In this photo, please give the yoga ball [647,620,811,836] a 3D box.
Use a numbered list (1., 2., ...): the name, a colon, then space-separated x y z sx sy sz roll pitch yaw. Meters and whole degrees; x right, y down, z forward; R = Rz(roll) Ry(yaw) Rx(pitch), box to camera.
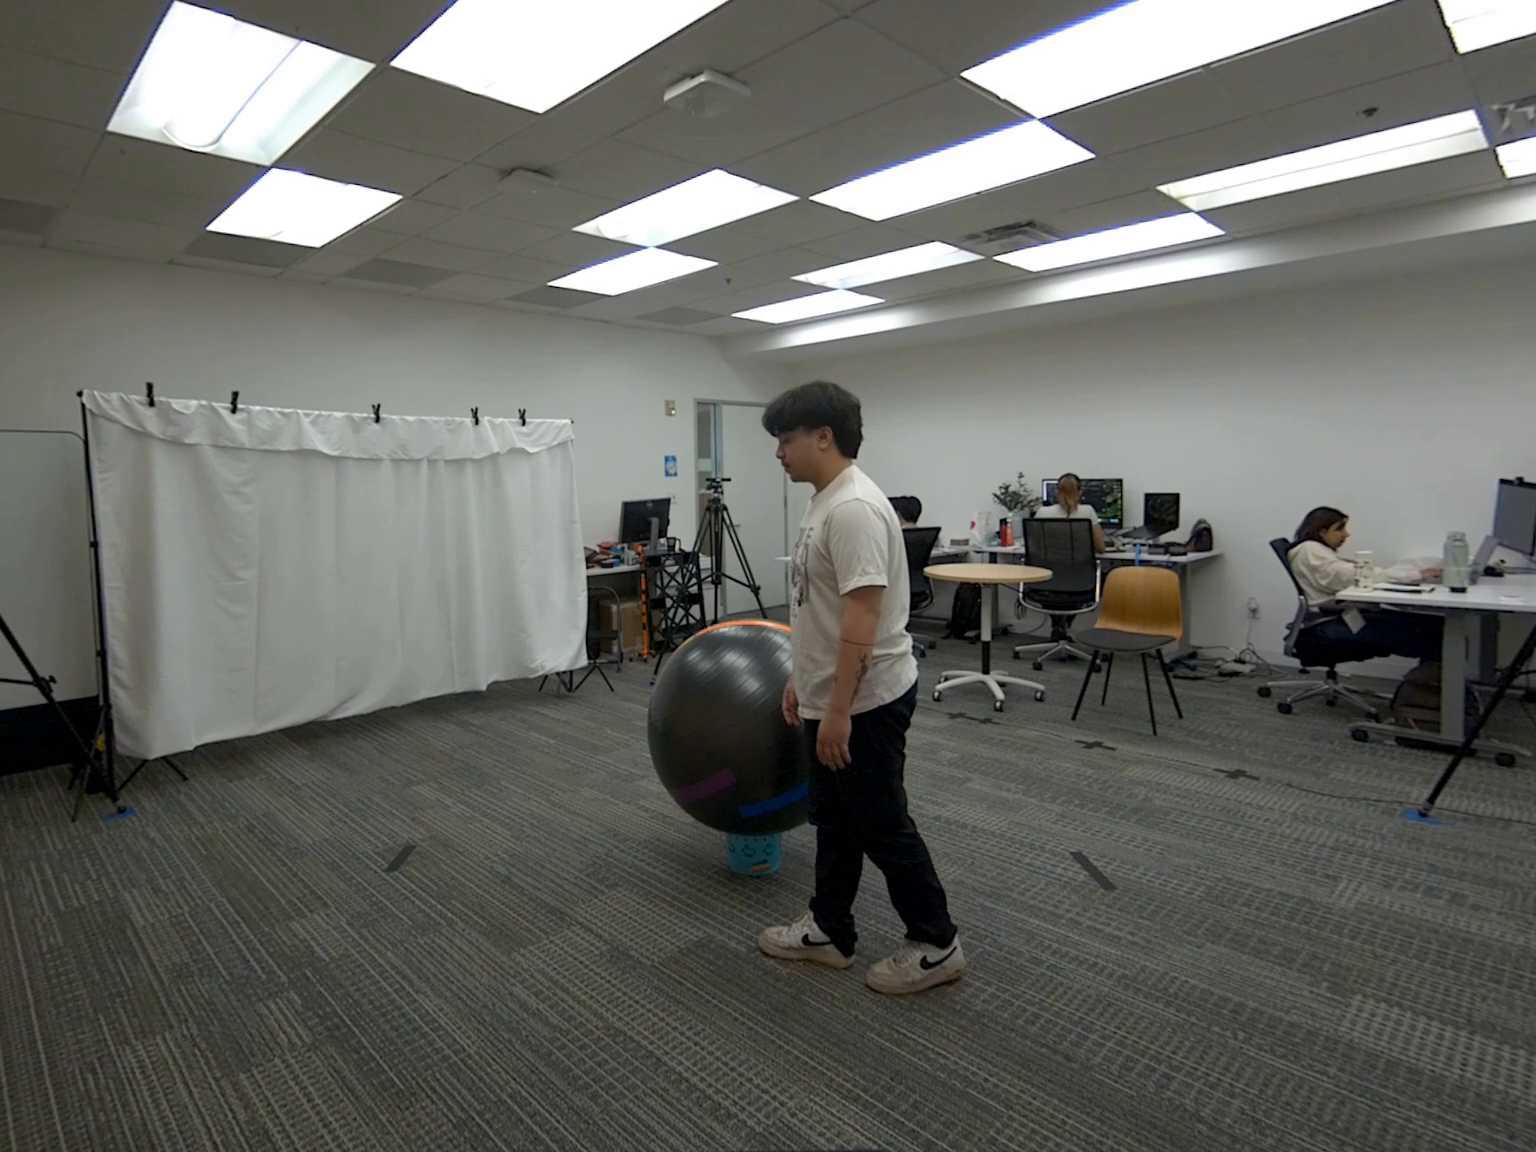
1. yoga ball: -0.054 0.536 3.063 0.757 0.755 0.762 -1 5 -2
